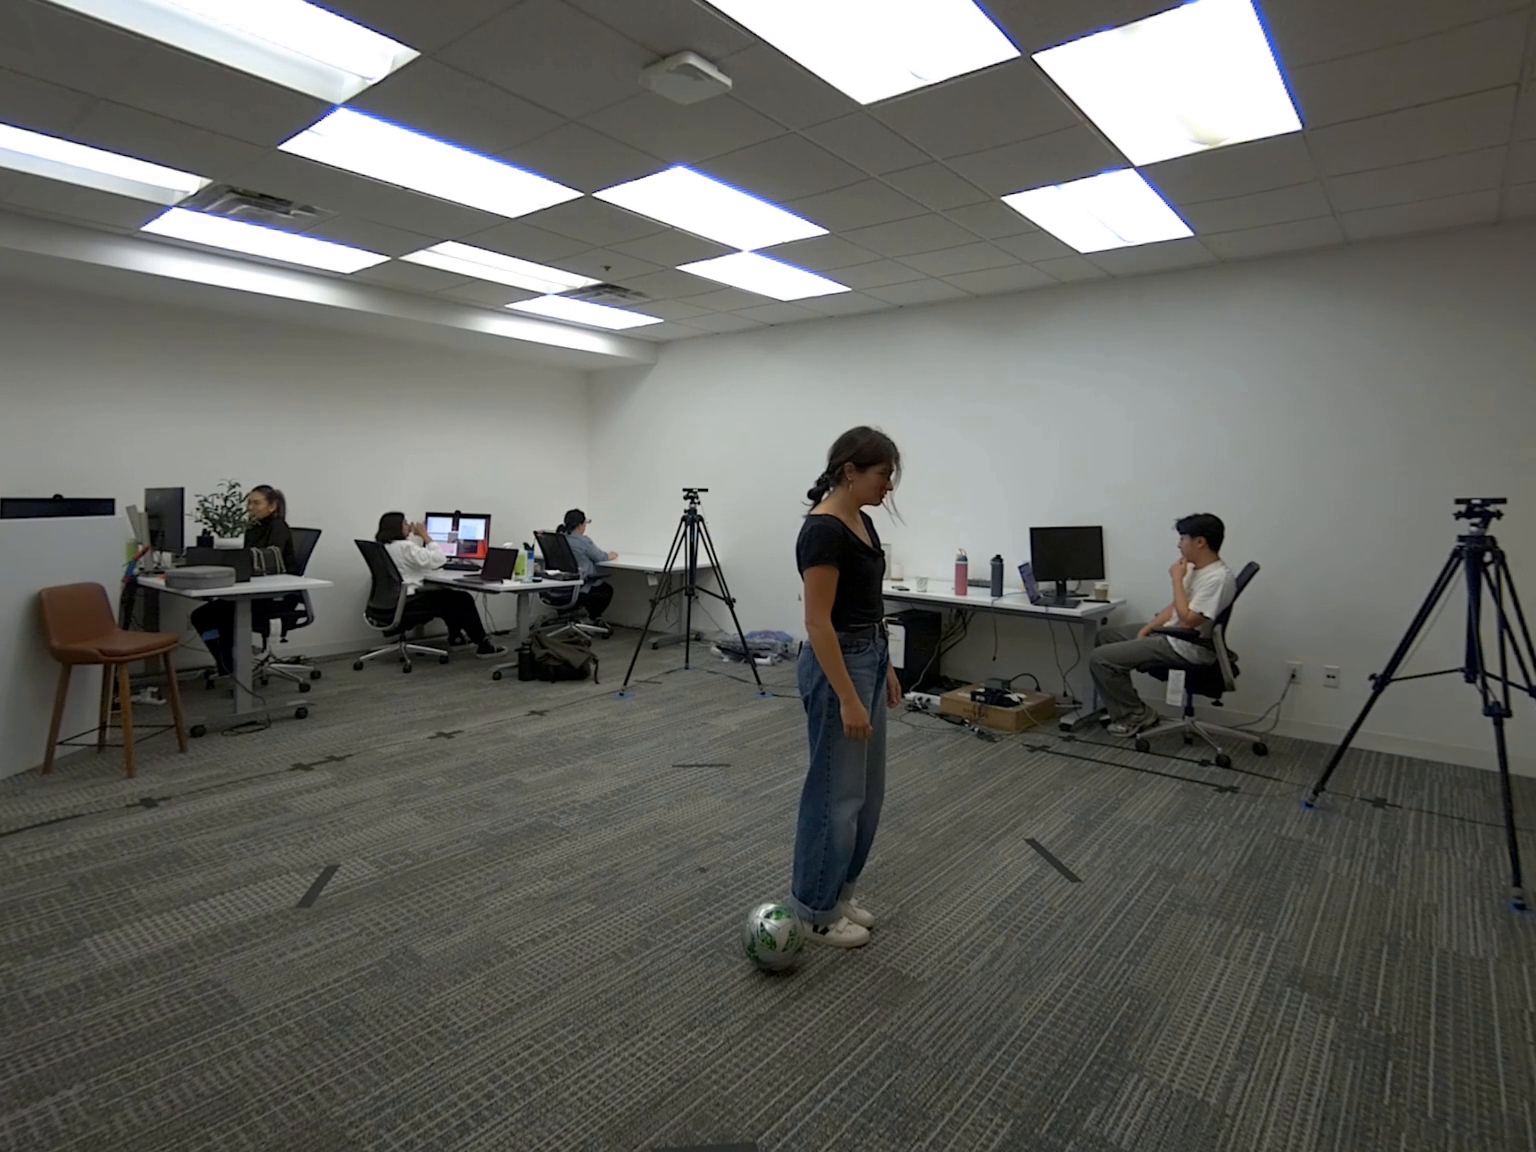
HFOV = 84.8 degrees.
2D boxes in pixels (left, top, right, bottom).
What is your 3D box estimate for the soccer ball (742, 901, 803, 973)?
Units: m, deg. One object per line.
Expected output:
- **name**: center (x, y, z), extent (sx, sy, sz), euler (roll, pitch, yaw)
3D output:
- **soccer ball**: center (0.016, 1.041, 2.485), extent (0.187, 0.187, 0.188), euler (1, 4, -2)
